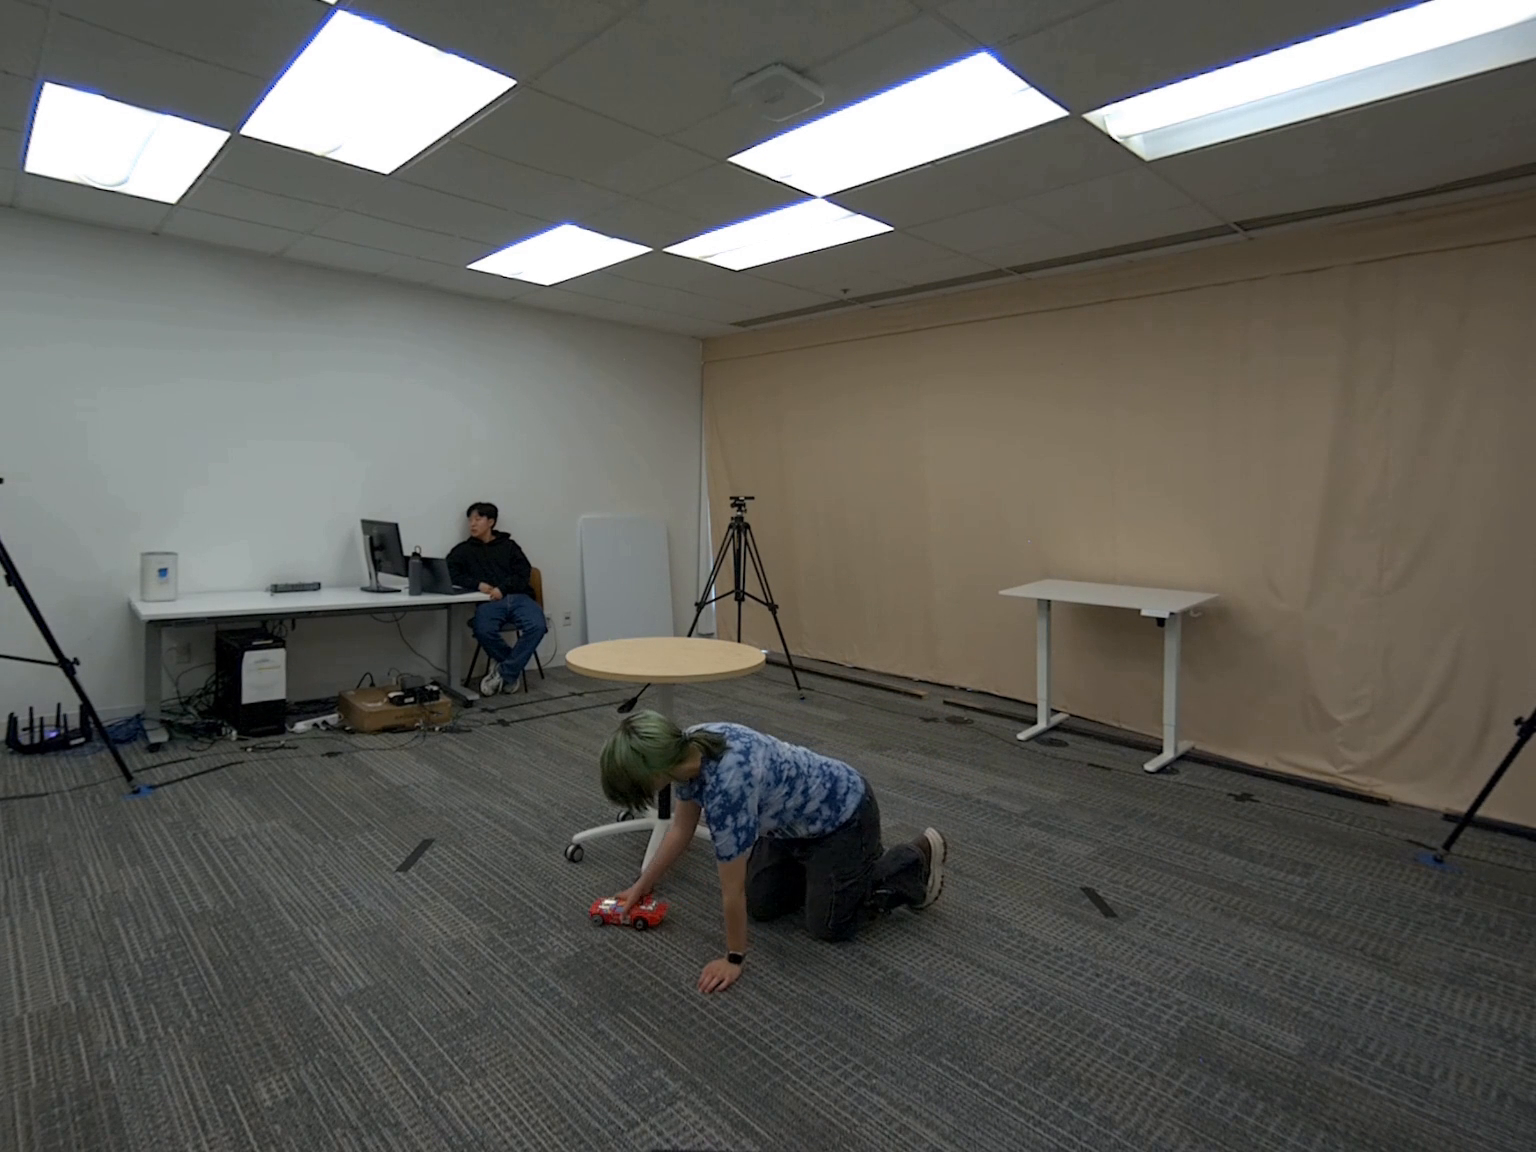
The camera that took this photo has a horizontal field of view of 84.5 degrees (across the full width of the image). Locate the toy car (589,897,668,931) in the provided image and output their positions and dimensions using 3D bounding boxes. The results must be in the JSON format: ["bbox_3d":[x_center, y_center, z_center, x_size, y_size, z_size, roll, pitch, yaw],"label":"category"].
[{"bbox_3d":[-0.456,1.098,2.748,0.256,0.083,0.129,-9,2,9],"label":"toy car"}]
